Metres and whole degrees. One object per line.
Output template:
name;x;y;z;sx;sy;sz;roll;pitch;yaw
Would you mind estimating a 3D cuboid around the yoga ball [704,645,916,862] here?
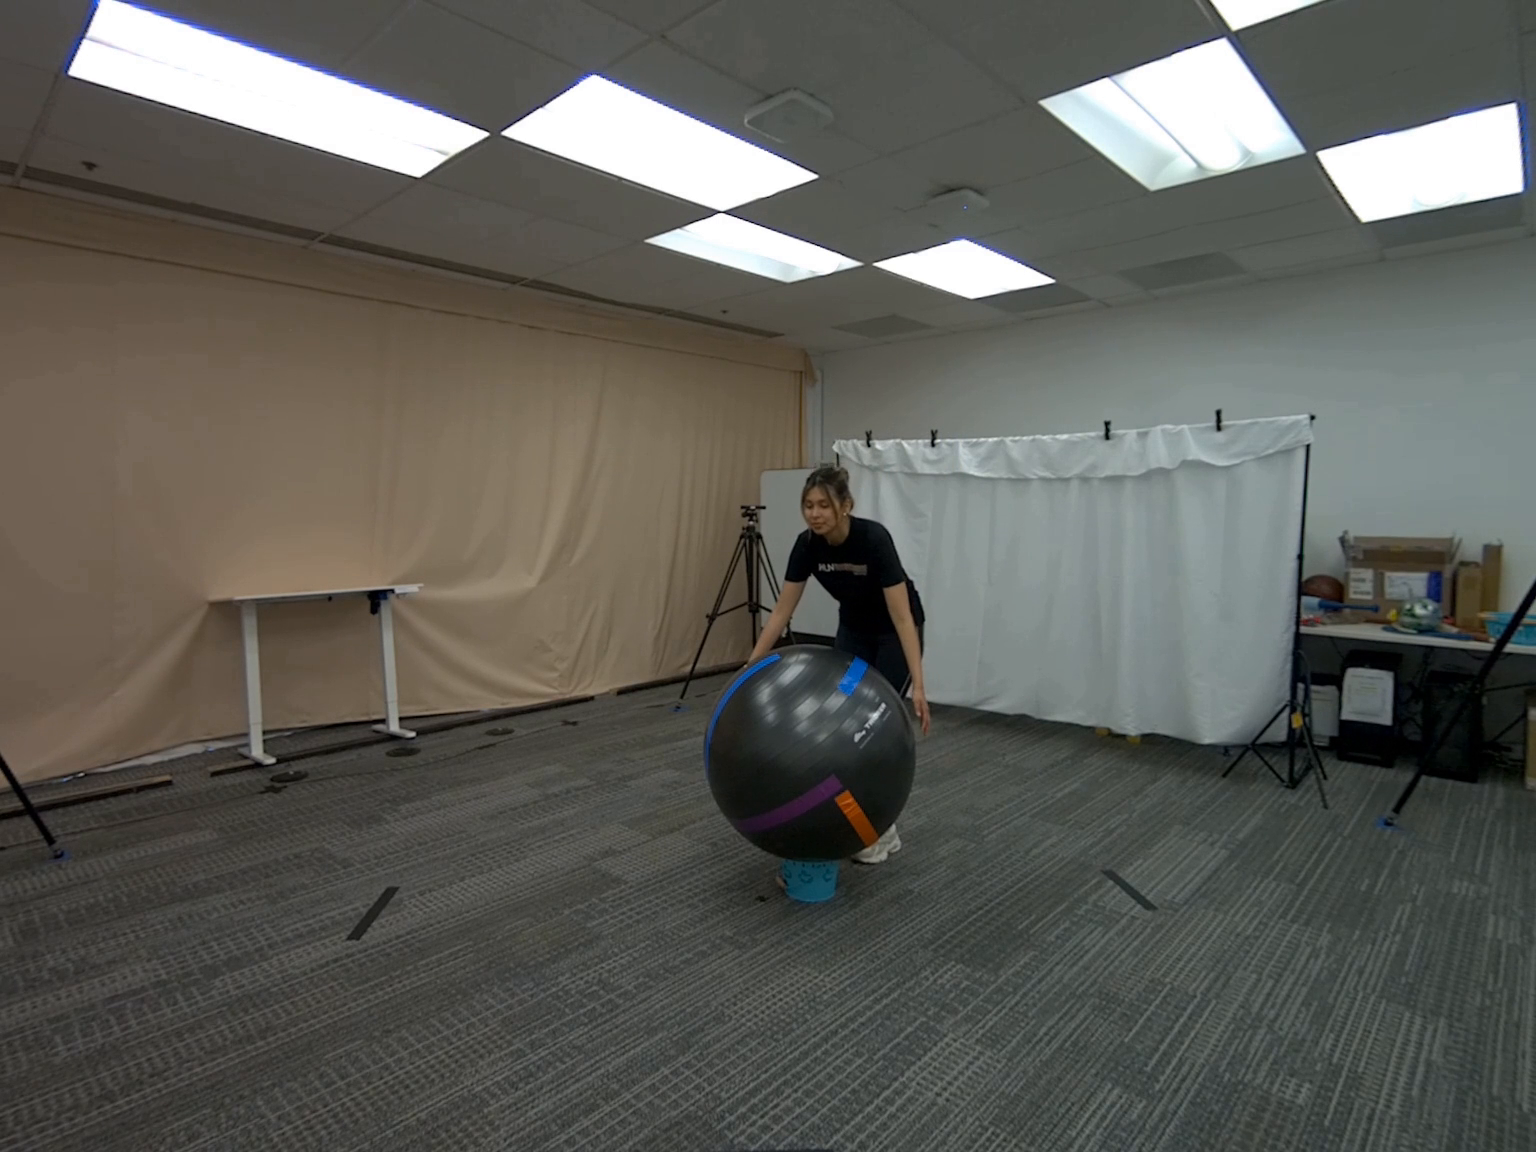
yoga ball;0.150;0.629;3.022;0.757;0.756;0.760;0;4;-2
